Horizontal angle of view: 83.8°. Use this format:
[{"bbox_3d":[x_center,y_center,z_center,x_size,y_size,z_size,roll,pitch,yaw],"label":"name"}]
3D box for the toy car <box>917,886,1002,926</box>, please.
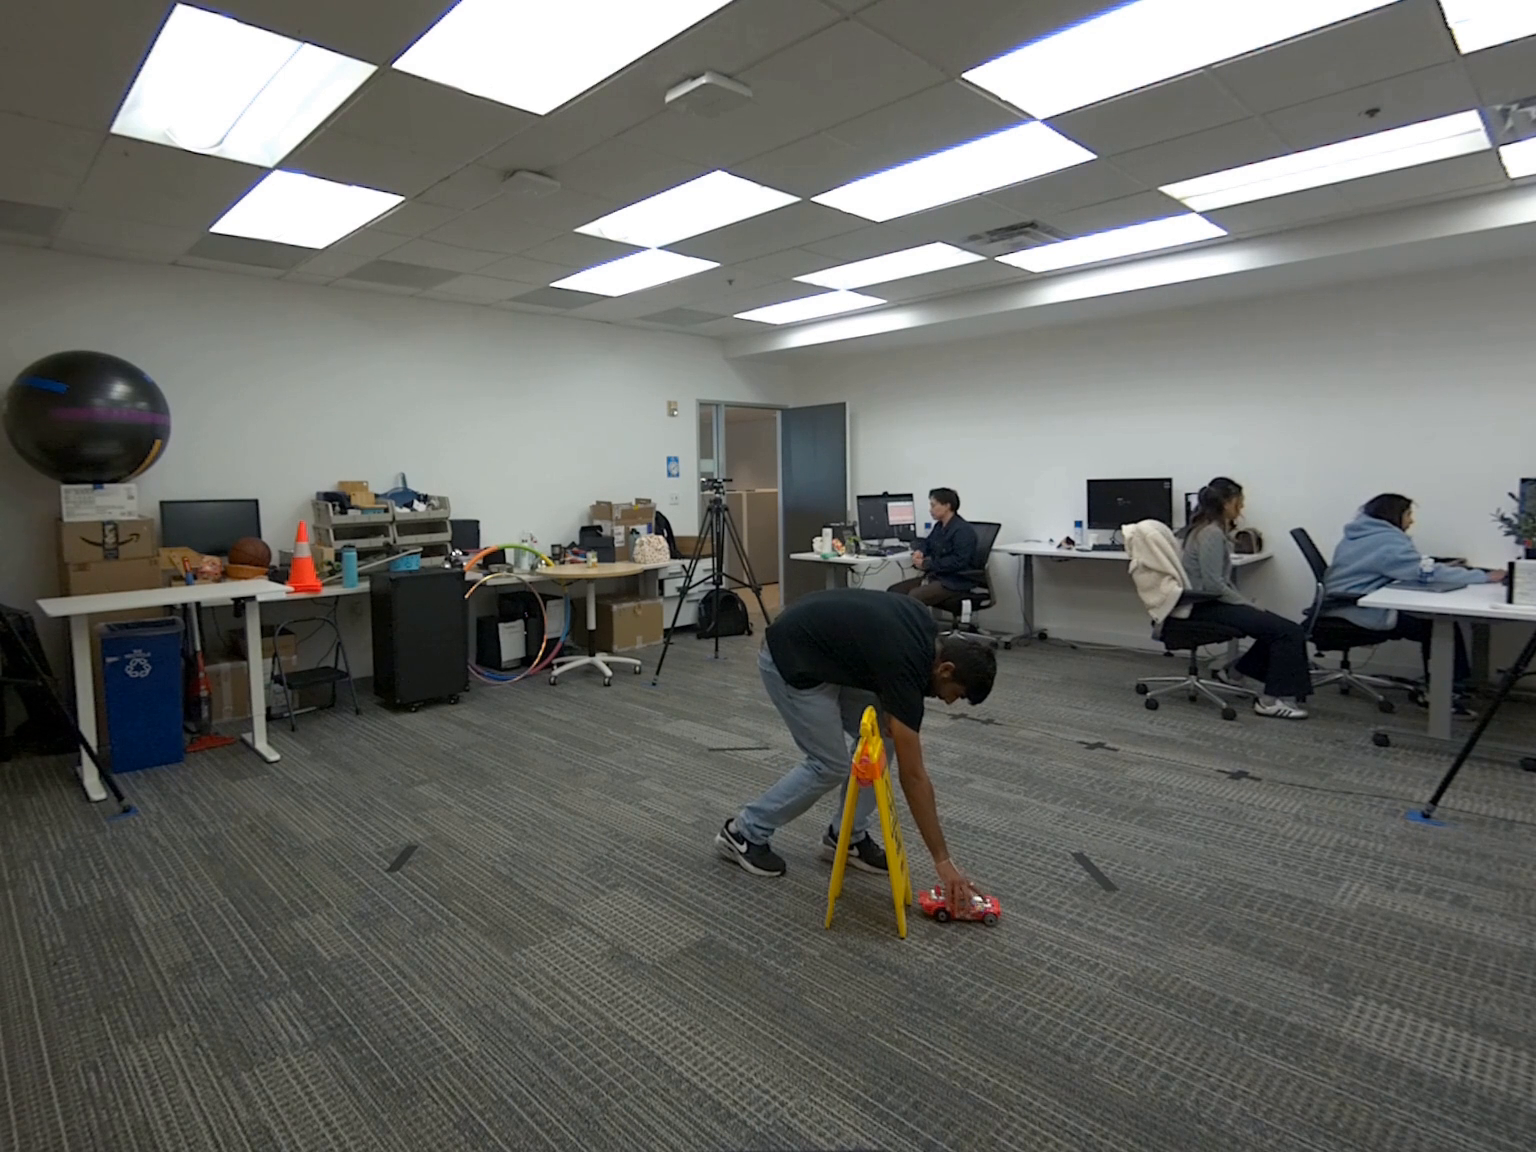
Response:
[{"bbox_3d":[0.604,1.044,2.705,0.257,0.083,0.129,10,7,8],"label":"toy car"}]
